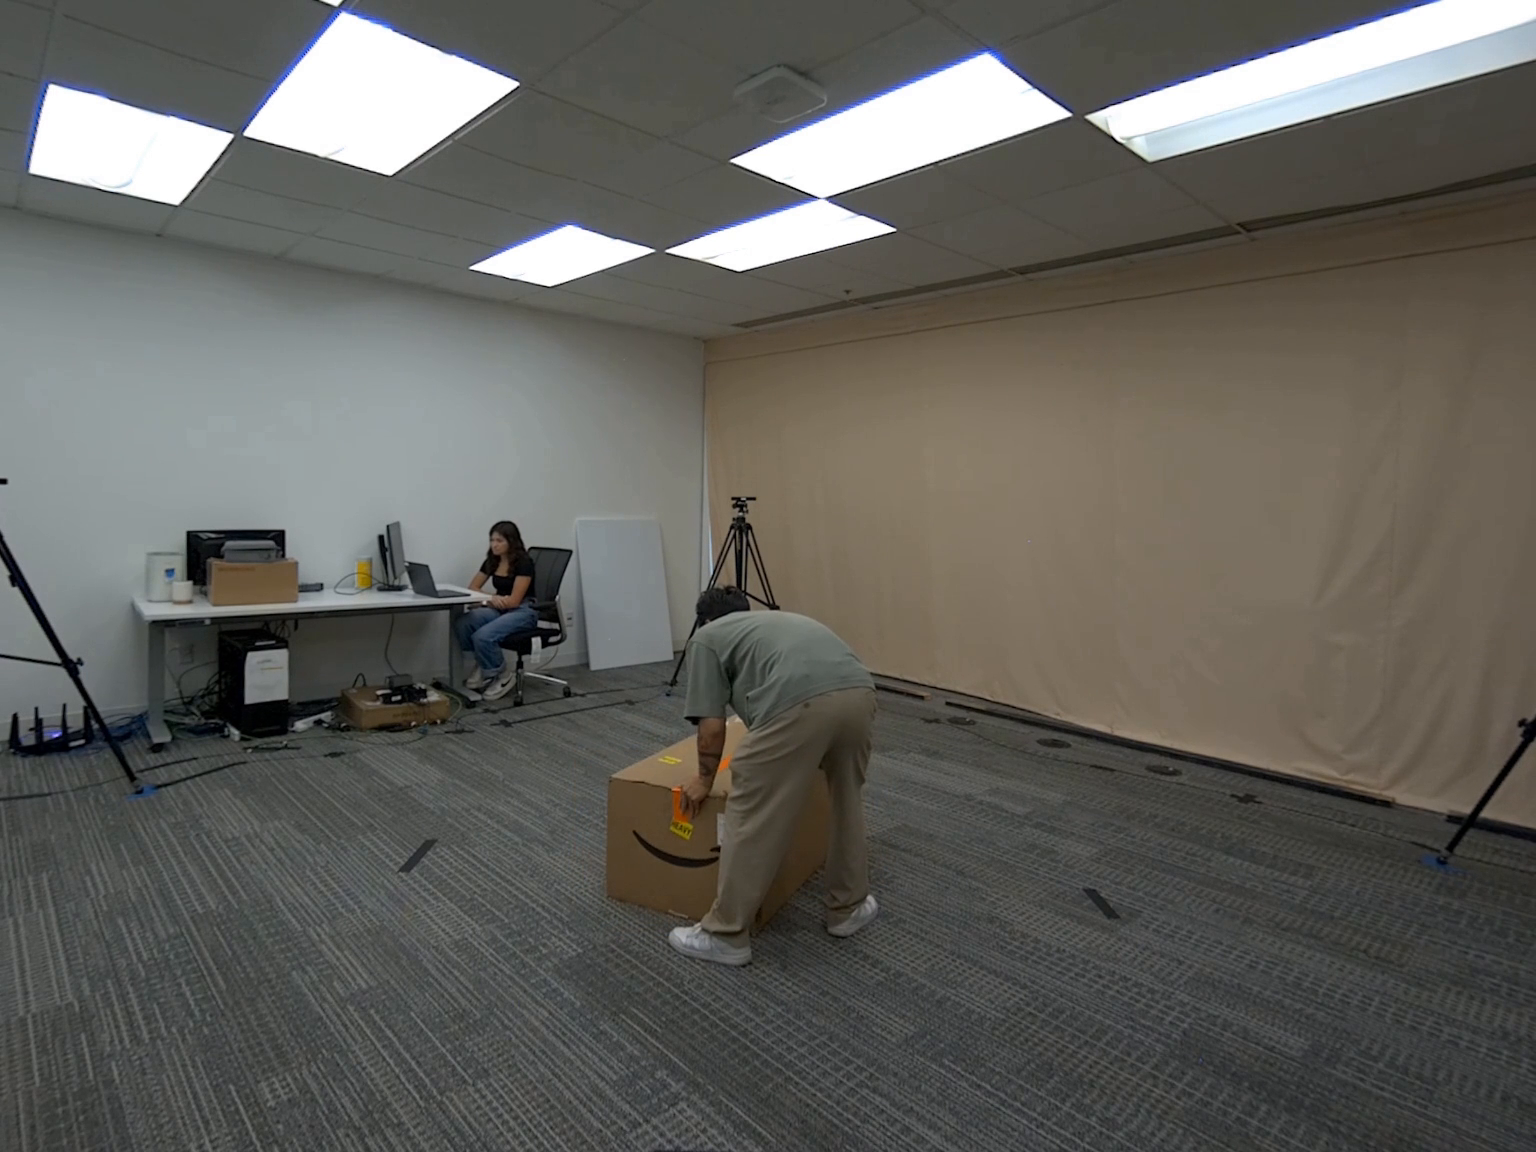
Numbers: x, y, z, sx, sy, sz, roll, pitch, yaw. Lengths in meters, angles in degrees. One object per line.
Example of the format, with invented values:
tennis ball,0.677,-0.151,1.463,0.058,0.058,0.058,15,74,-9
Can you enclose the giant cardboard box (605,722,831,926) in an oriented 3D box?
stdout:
giant cardboard box,-0.098,0.882,3.246,0.589,0.425,1.009,5,6,25
